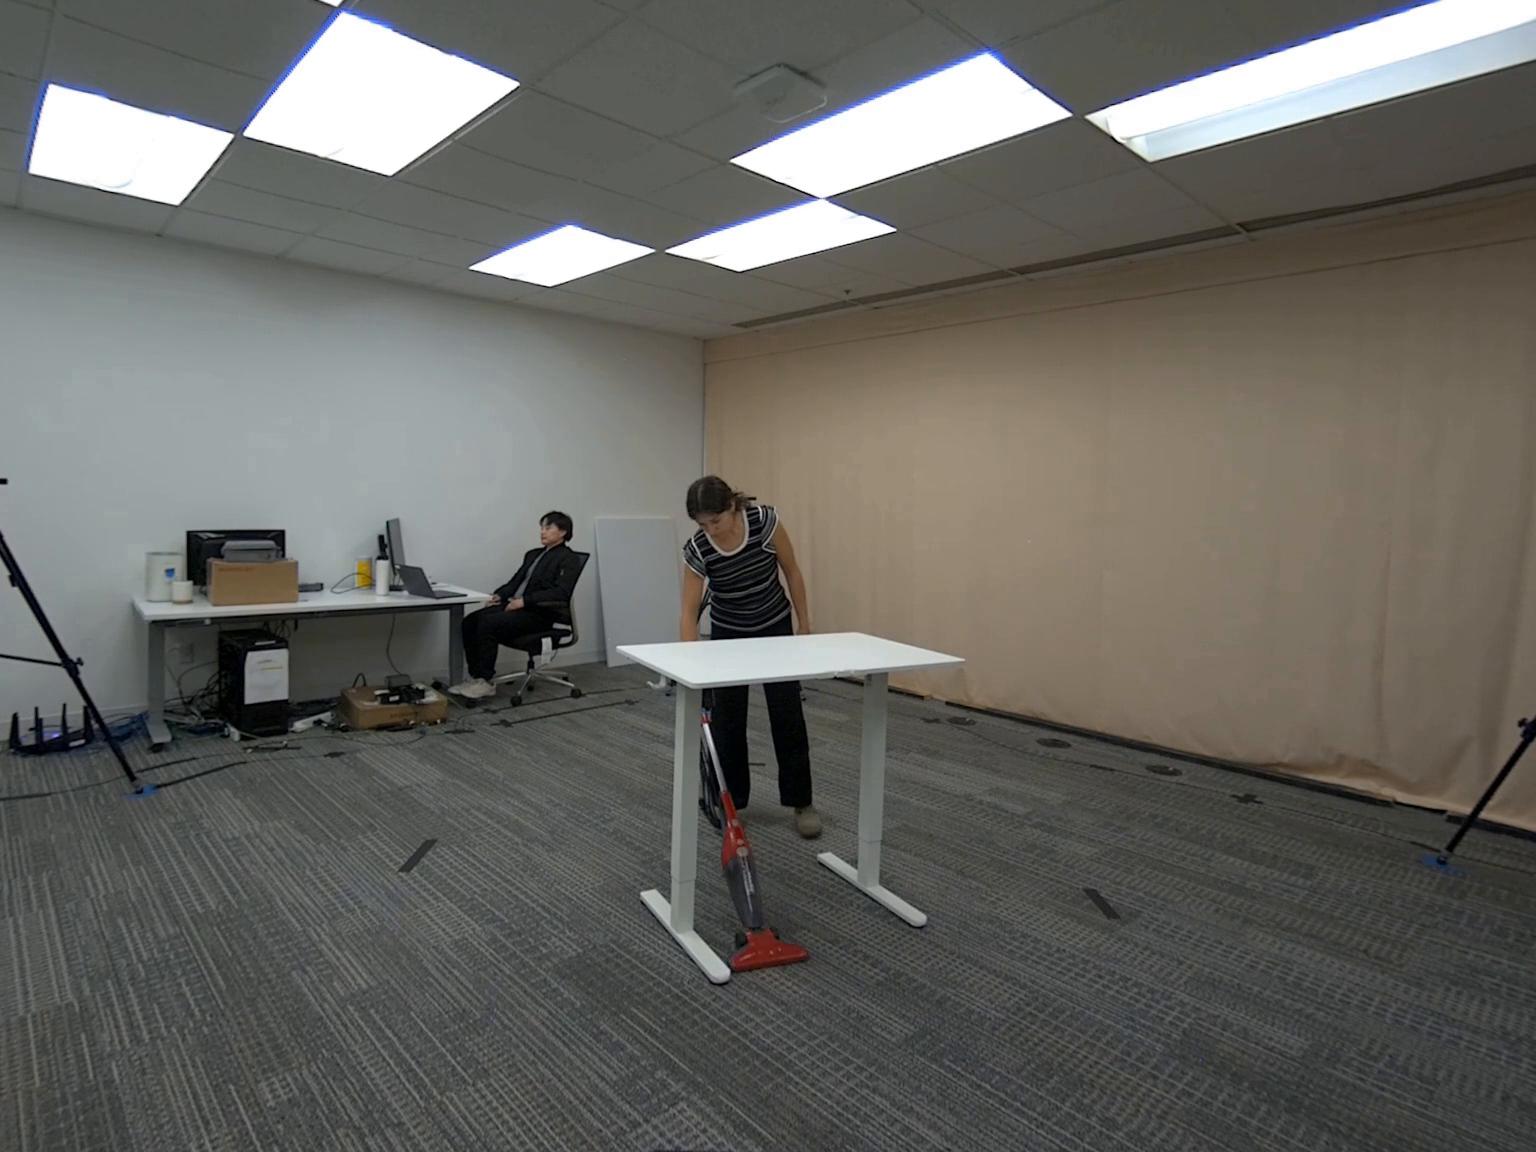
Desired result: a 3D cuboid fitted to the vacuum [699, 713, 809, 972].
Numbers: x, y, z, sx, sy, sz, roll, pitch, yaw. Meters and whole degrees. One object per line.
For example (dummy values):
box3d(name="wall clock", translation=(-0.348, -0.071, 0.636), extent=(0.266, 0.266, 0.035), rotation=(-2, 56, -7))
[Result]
box3d(name="vacuum", translation=(-0.167, 0.795, 2.949), extent=(0.247, 0.143, 1.081), rotation=(6, 37, -27))
